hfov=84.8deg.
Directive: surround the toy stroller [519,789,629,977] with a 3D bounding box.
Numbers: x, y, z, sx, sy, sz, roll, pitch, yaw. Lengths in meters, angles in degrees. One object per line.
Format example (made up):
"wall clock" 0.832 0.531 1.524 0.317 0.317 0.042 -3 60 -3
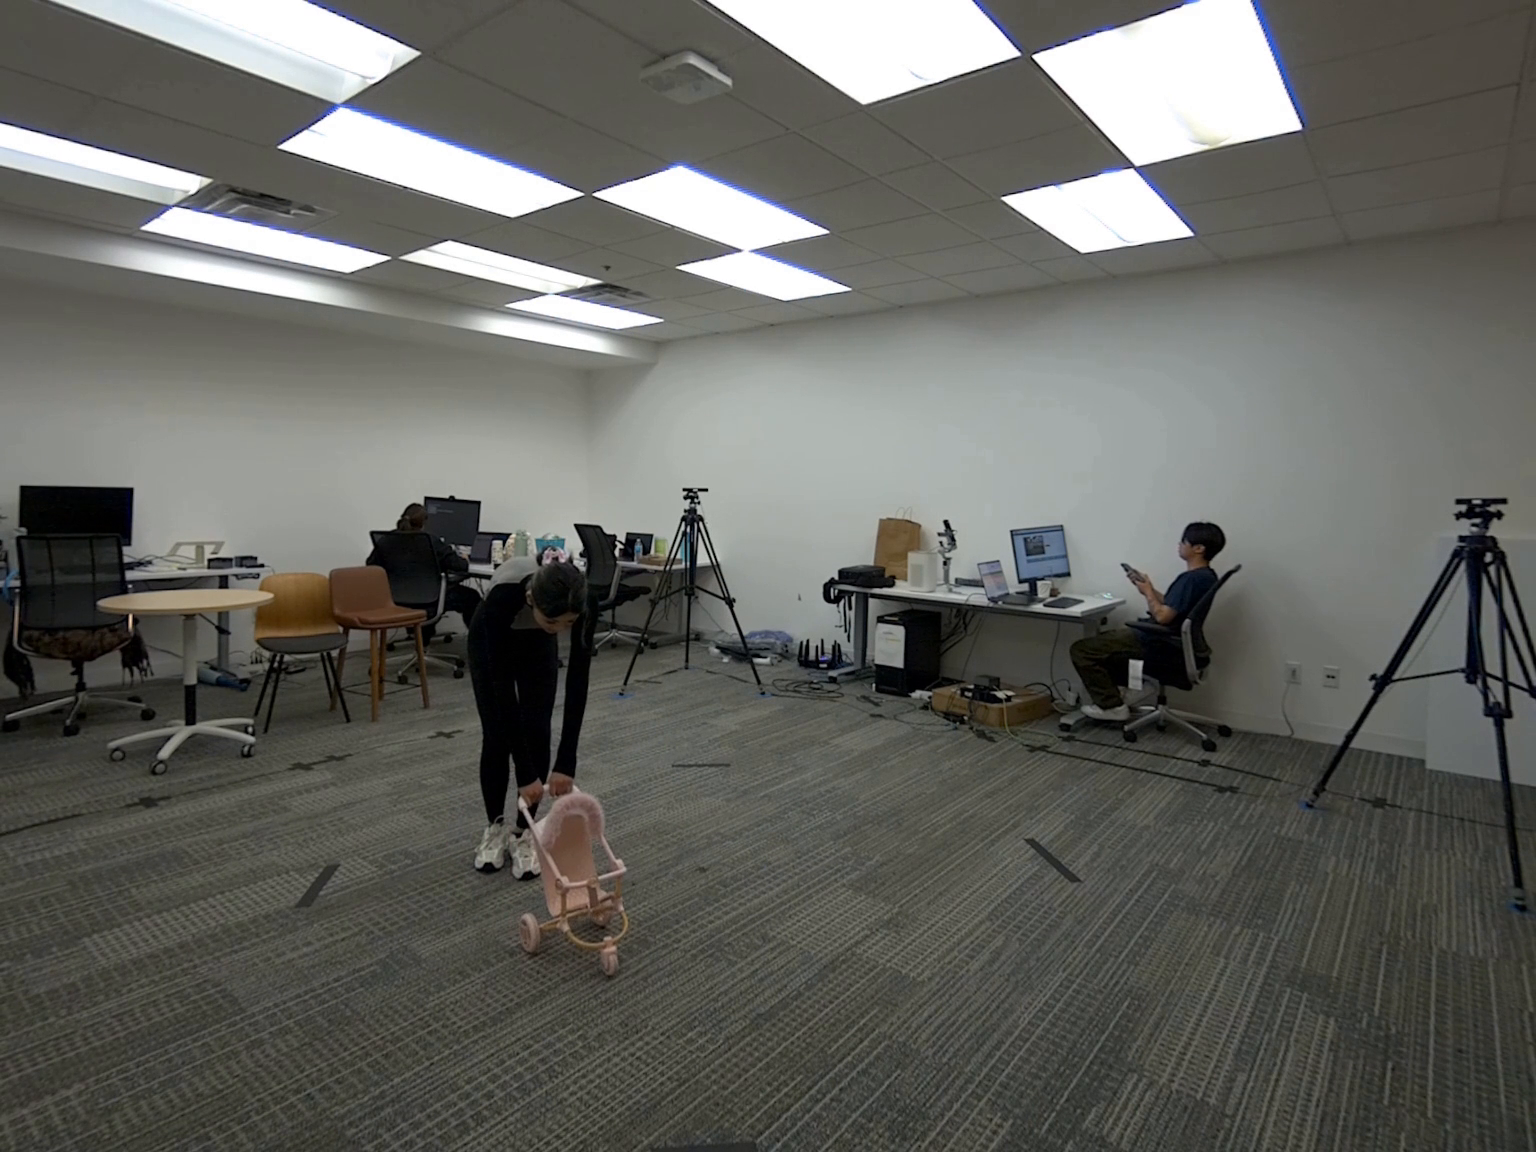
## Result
"toy stroller" -0.594 0.887 2.573 0.273 0.541 0.347 -2 -12 -37
